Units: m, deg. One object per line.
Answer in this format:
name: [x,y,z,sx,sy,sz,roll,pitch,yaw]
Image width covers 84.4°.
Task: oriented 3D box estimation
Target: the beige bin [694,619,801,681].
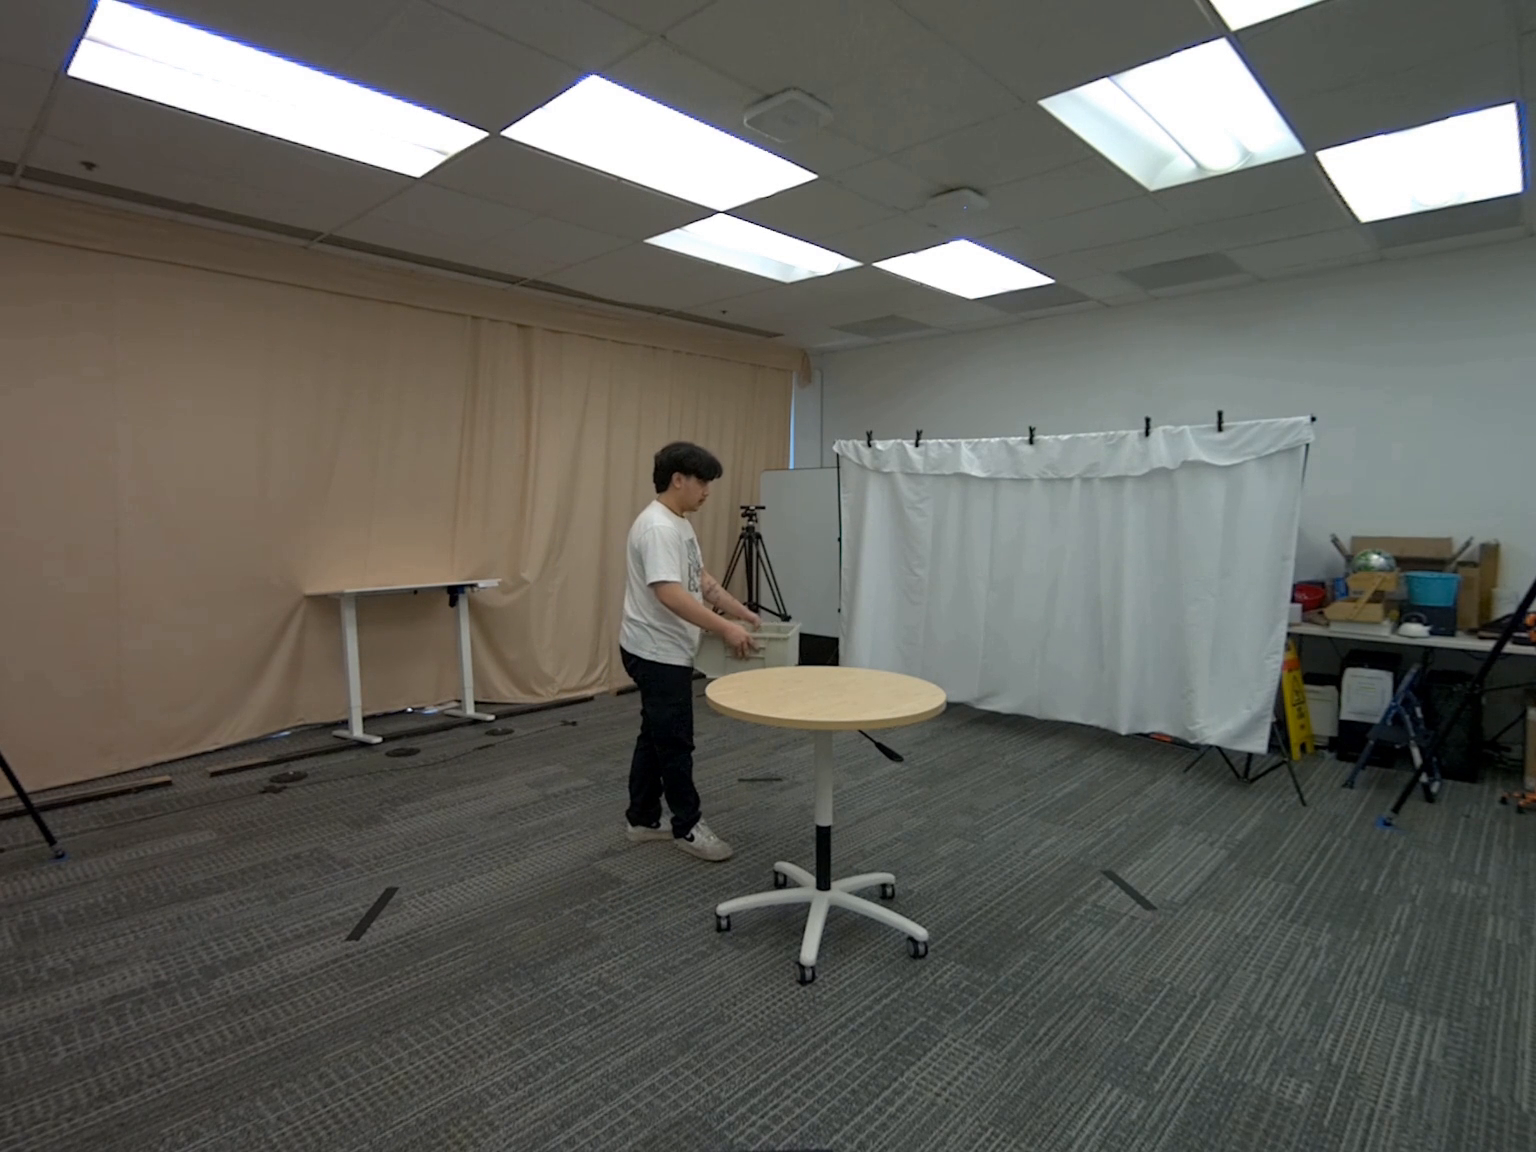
beige bin: [-0.080,0.303,3.445,0.381,0.189,0.419,5,2,7]
